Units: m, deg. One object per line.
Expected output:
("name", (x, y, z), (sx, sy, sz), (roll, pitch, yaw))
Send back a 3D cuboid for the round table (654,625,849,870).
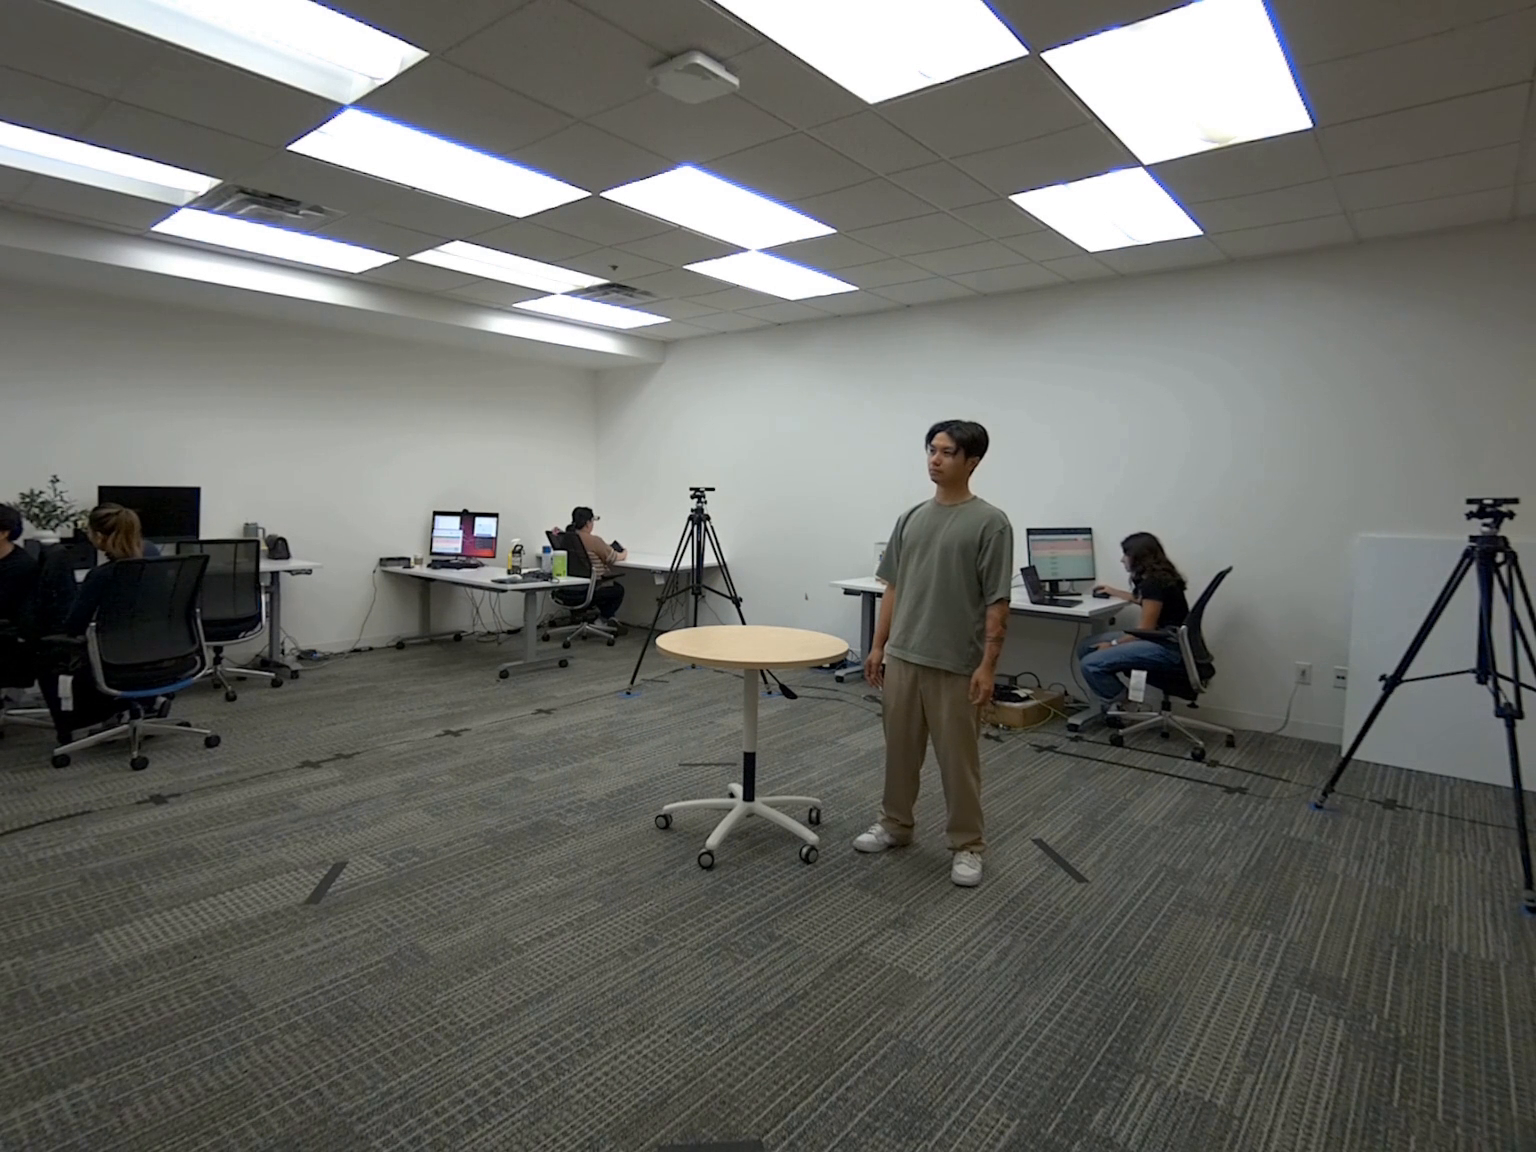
("round table", (-0.087, 0.653, 3.419), (0.763, 0.791, 0.768), (1, 4, -2))
